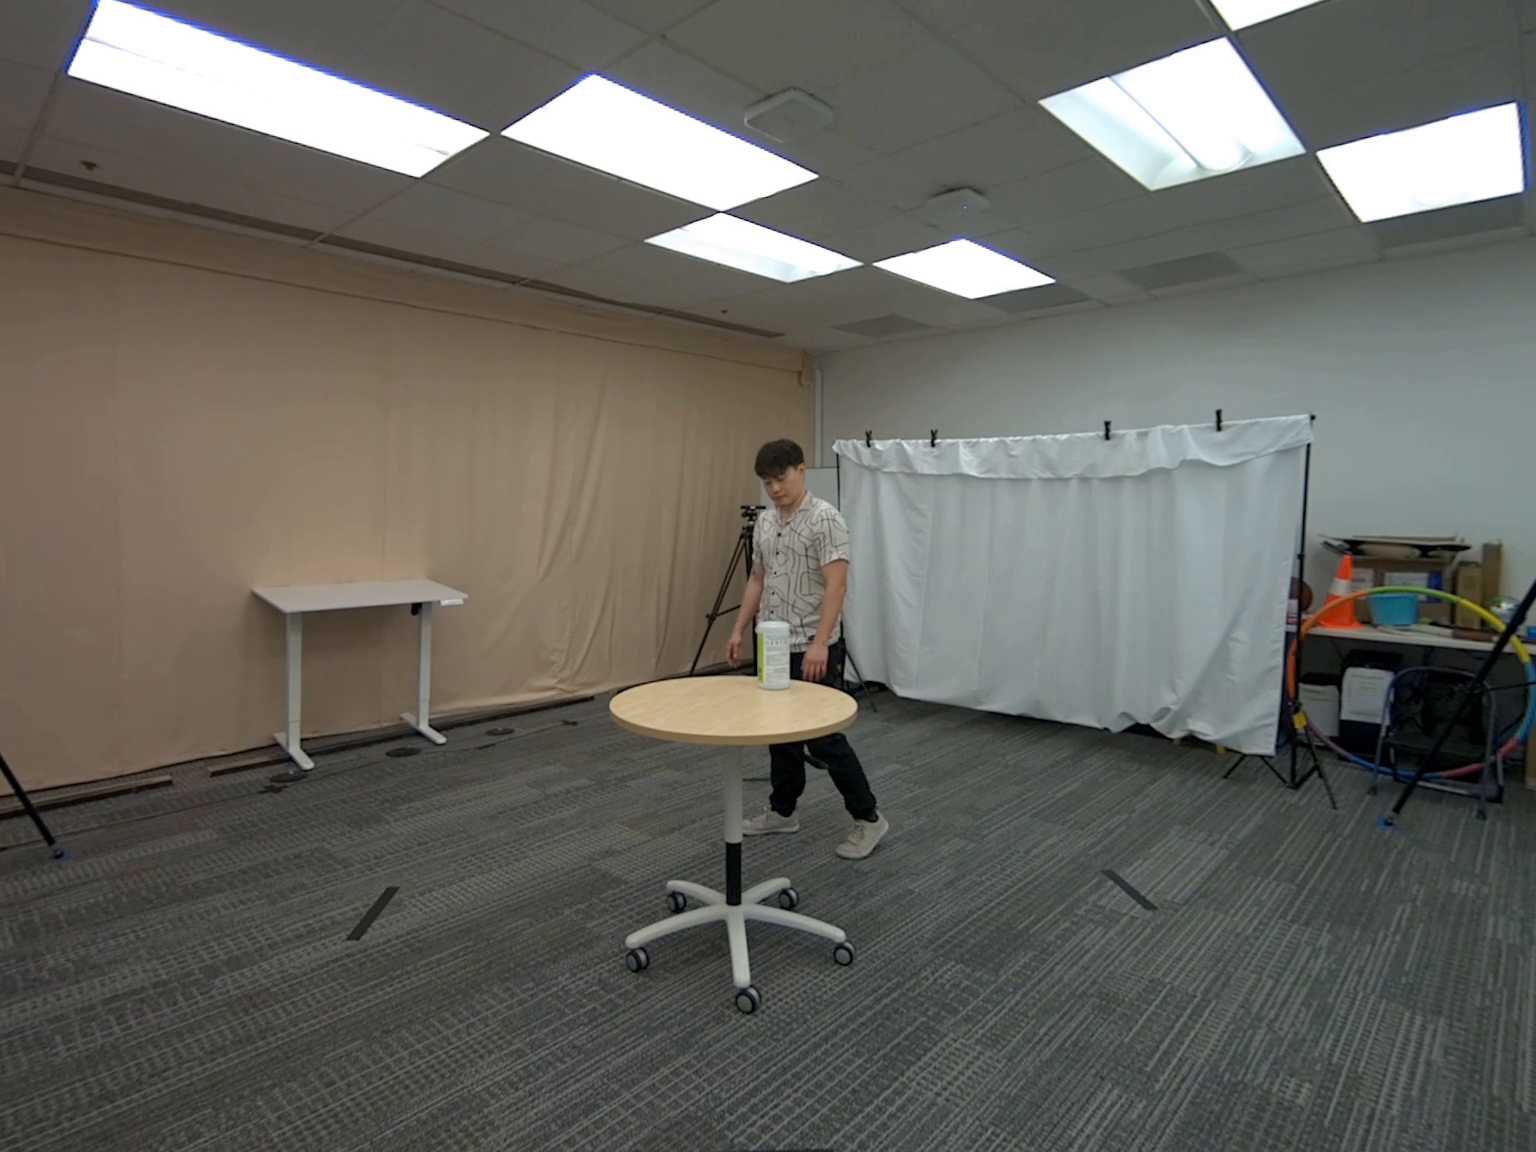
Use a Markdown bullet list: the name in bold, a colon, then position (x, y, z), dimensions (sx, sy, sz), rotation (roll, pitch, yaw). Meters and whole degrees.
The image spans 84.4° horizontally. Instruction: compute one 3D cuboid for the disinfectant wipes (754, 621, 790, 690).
- **disinfectant wipes**: position (0.016, 0.266, 2.830), dimensions (0.118, 0.217, 0.118), rotation (0, 3, -2)
